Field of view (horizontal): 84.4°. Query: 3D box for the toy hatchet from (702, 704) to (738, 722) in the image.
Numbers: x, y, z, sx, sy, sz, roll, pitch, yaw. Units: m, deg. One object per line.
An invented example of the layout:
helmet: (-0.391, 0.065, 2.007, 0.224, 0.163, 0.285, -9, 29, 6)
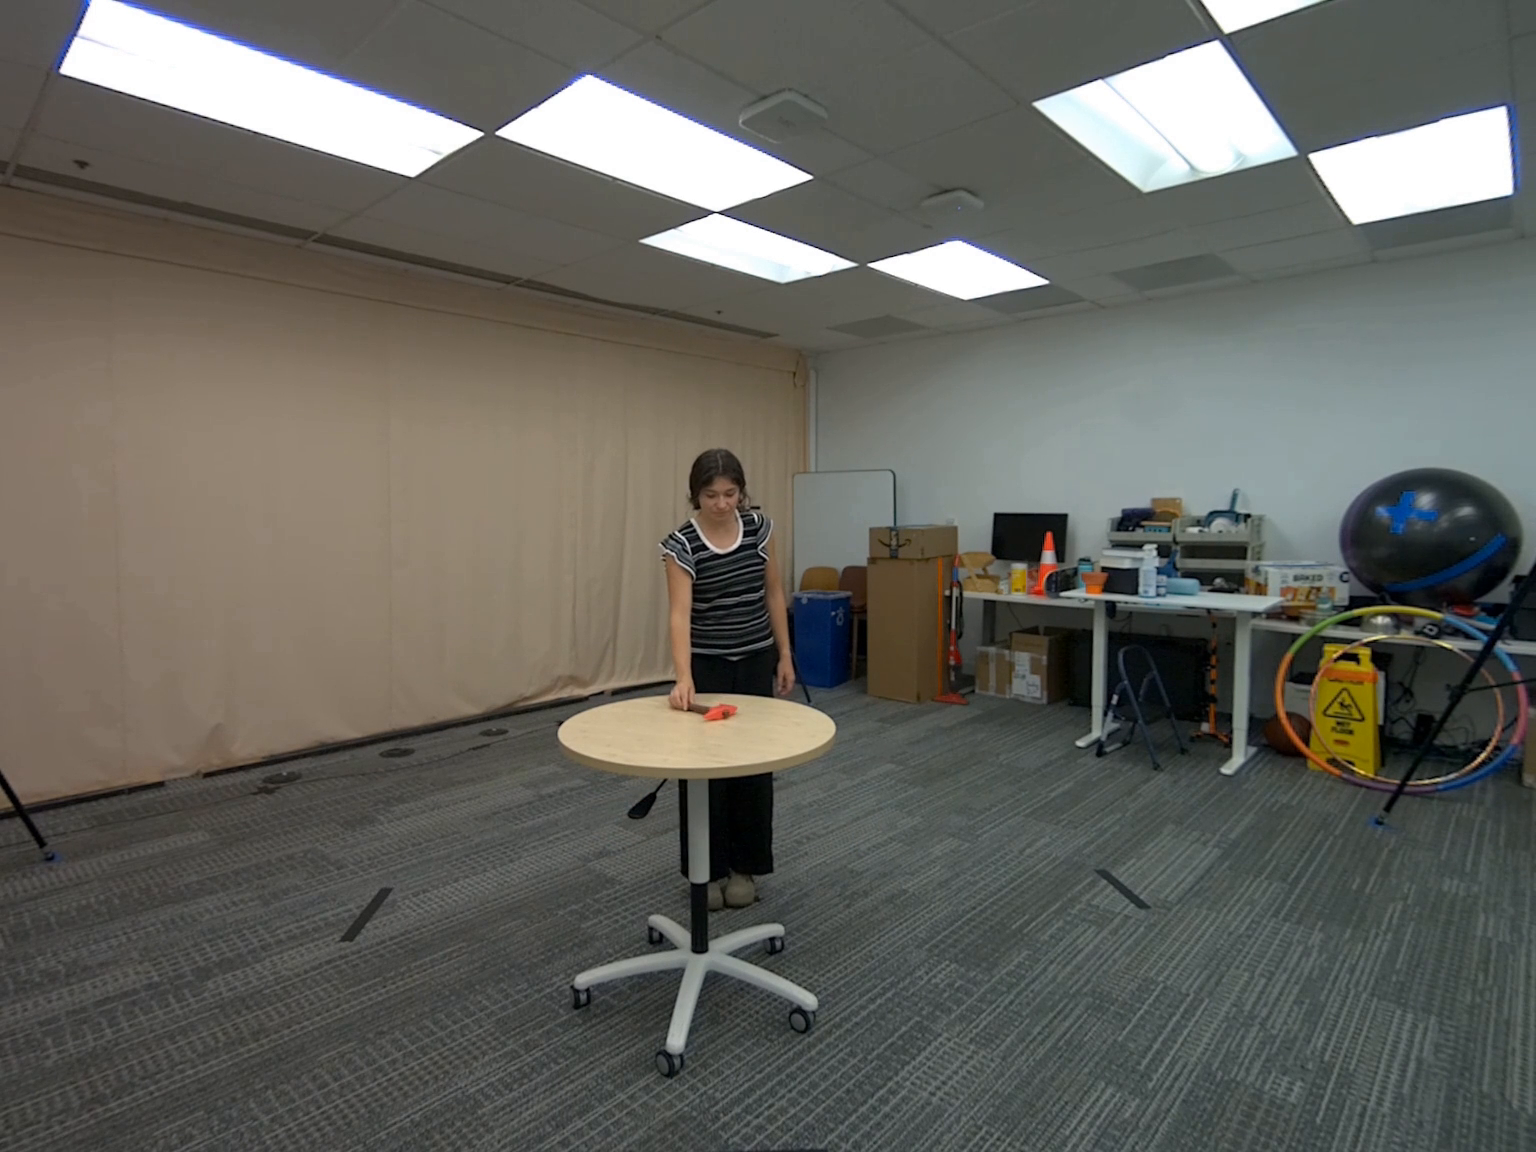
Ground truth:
toy hatchet: (-0.183, 0.388, 2.512, 0.128, 0.029, 0.277, -8, 7, -26)
